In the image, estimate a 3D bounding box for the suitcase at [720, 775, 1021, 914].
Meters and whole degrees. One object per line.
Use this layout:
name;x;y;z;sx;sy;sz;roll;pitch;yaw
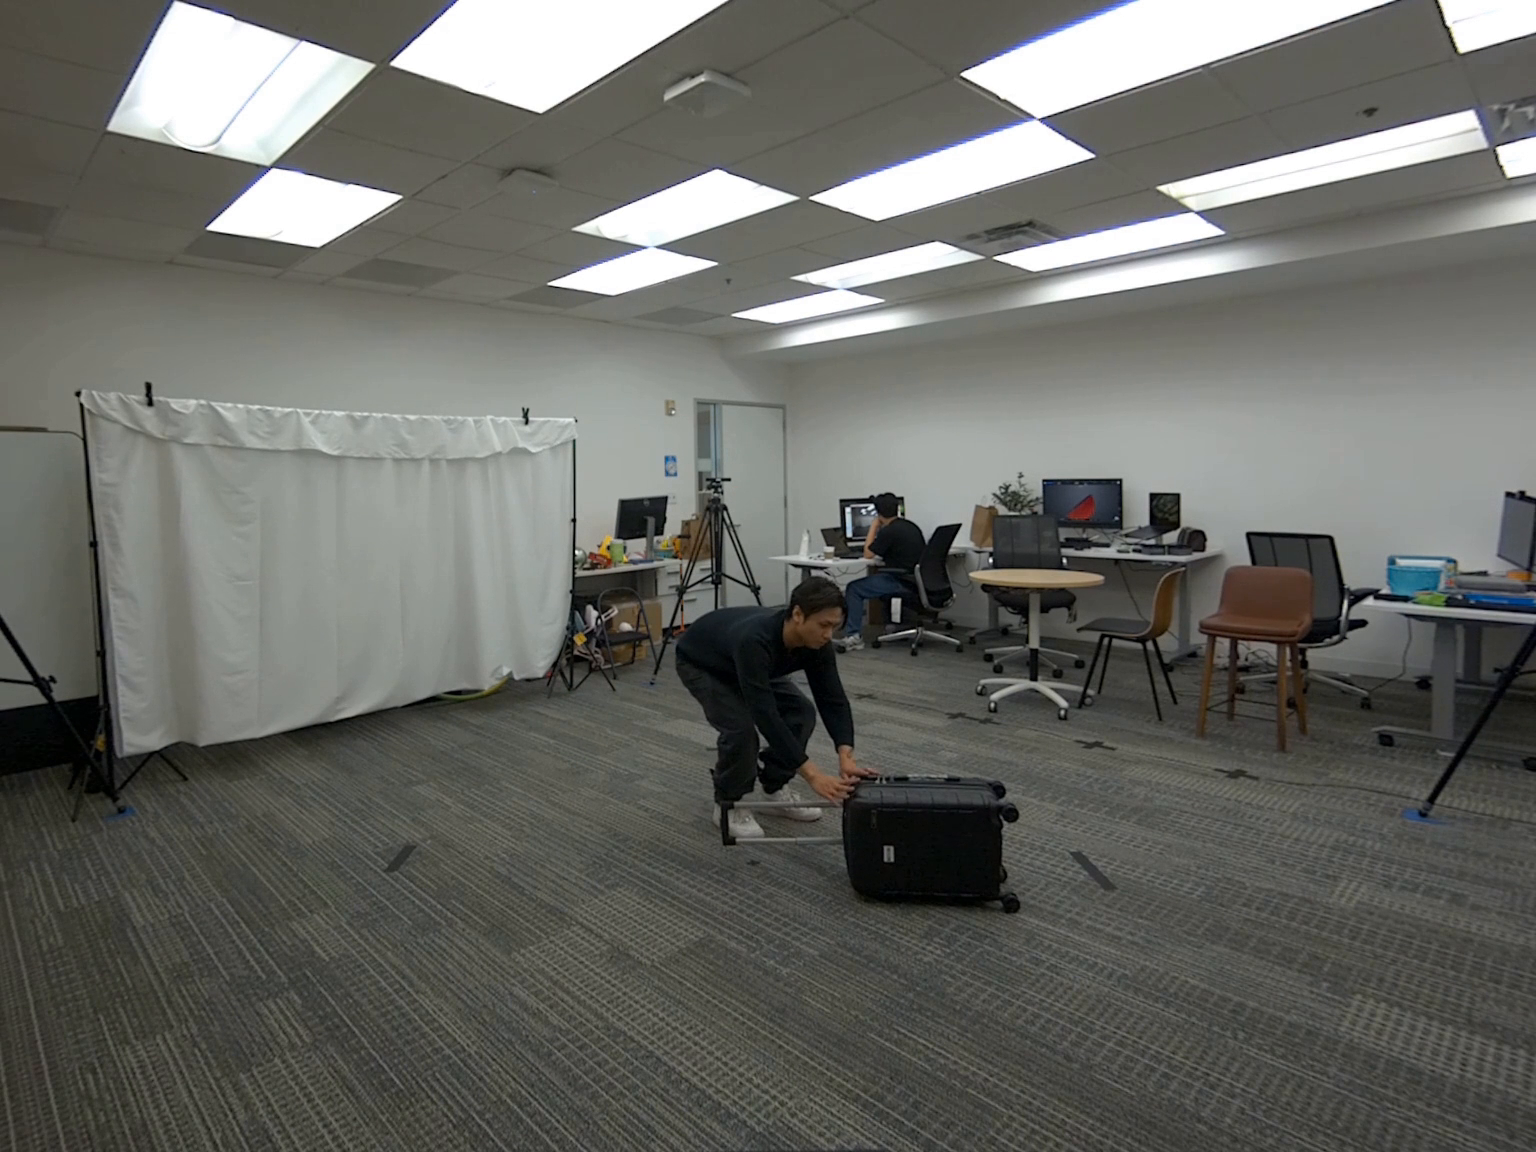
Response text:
suitcase;0.324;0.876;2.879;0.985;0.383;0.256;0;3;6
